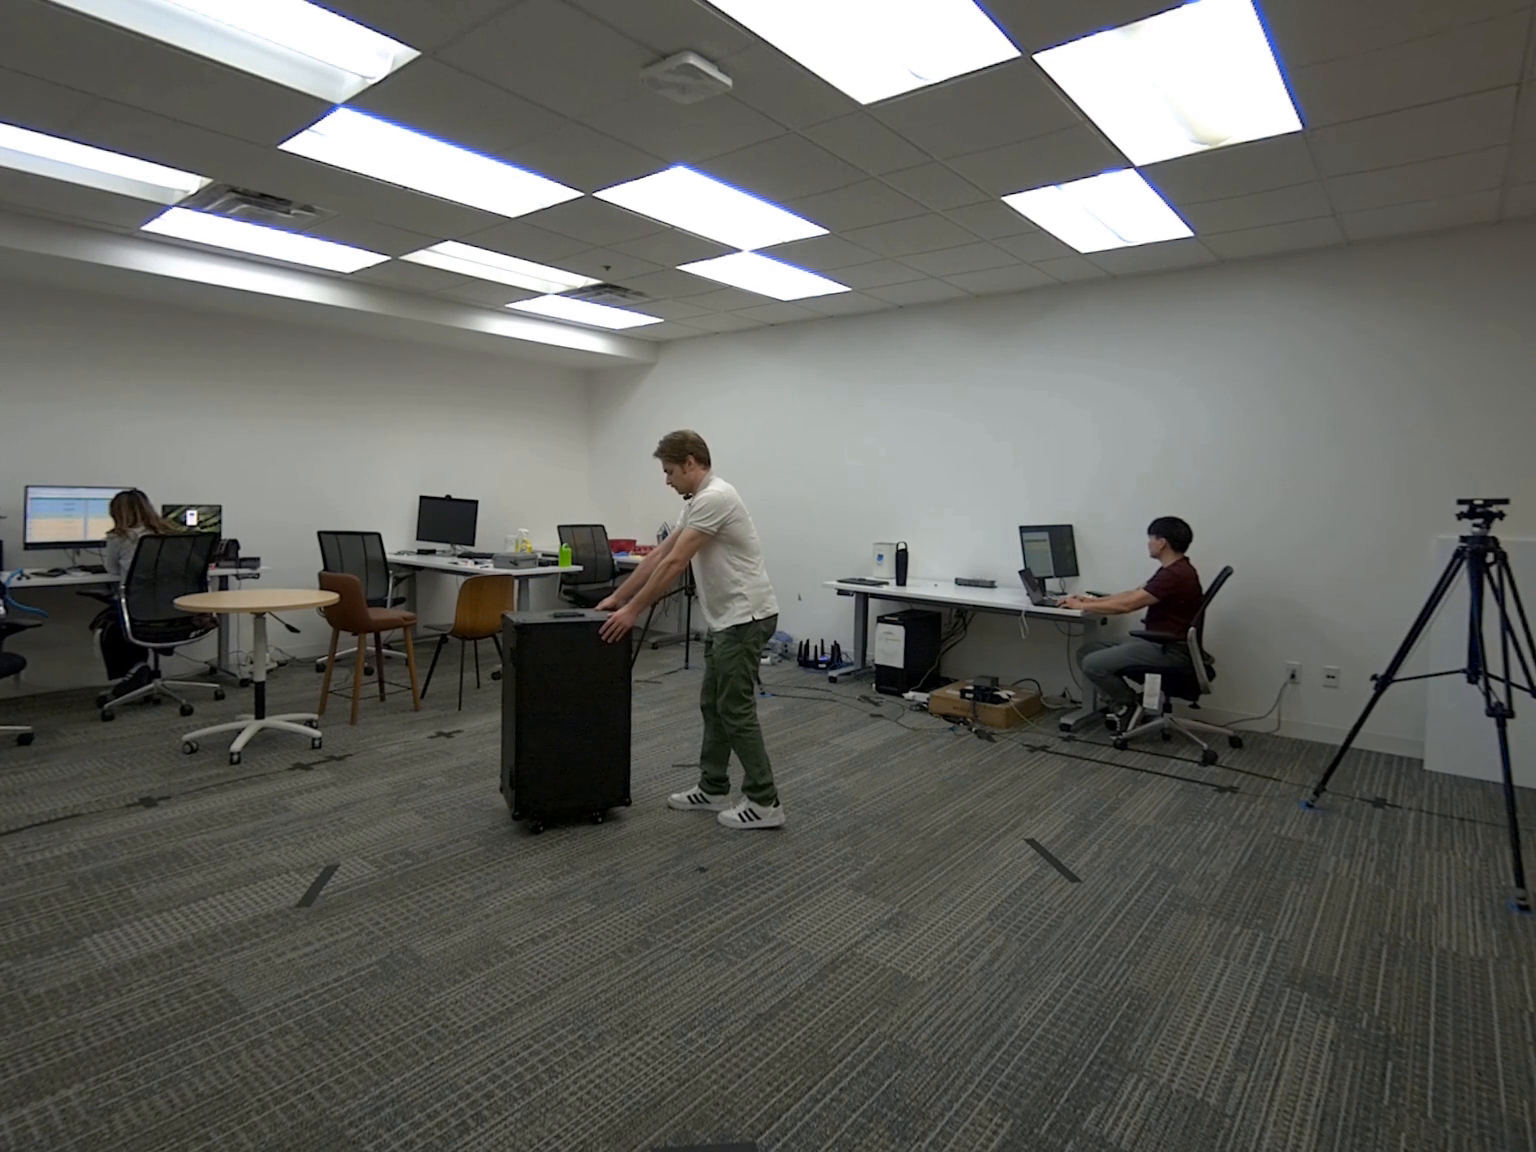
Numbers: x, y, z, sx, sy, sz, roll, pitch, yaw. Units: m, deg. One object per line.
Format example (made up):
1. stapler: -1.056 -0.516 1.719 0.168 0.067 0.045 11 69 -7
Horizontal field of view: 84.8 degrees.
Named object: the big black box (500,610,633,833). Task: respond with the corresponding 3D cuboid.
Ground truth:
1. big black box: -0.882 0.591 3.593 0.511 0.867 0.395 0 2 -25
